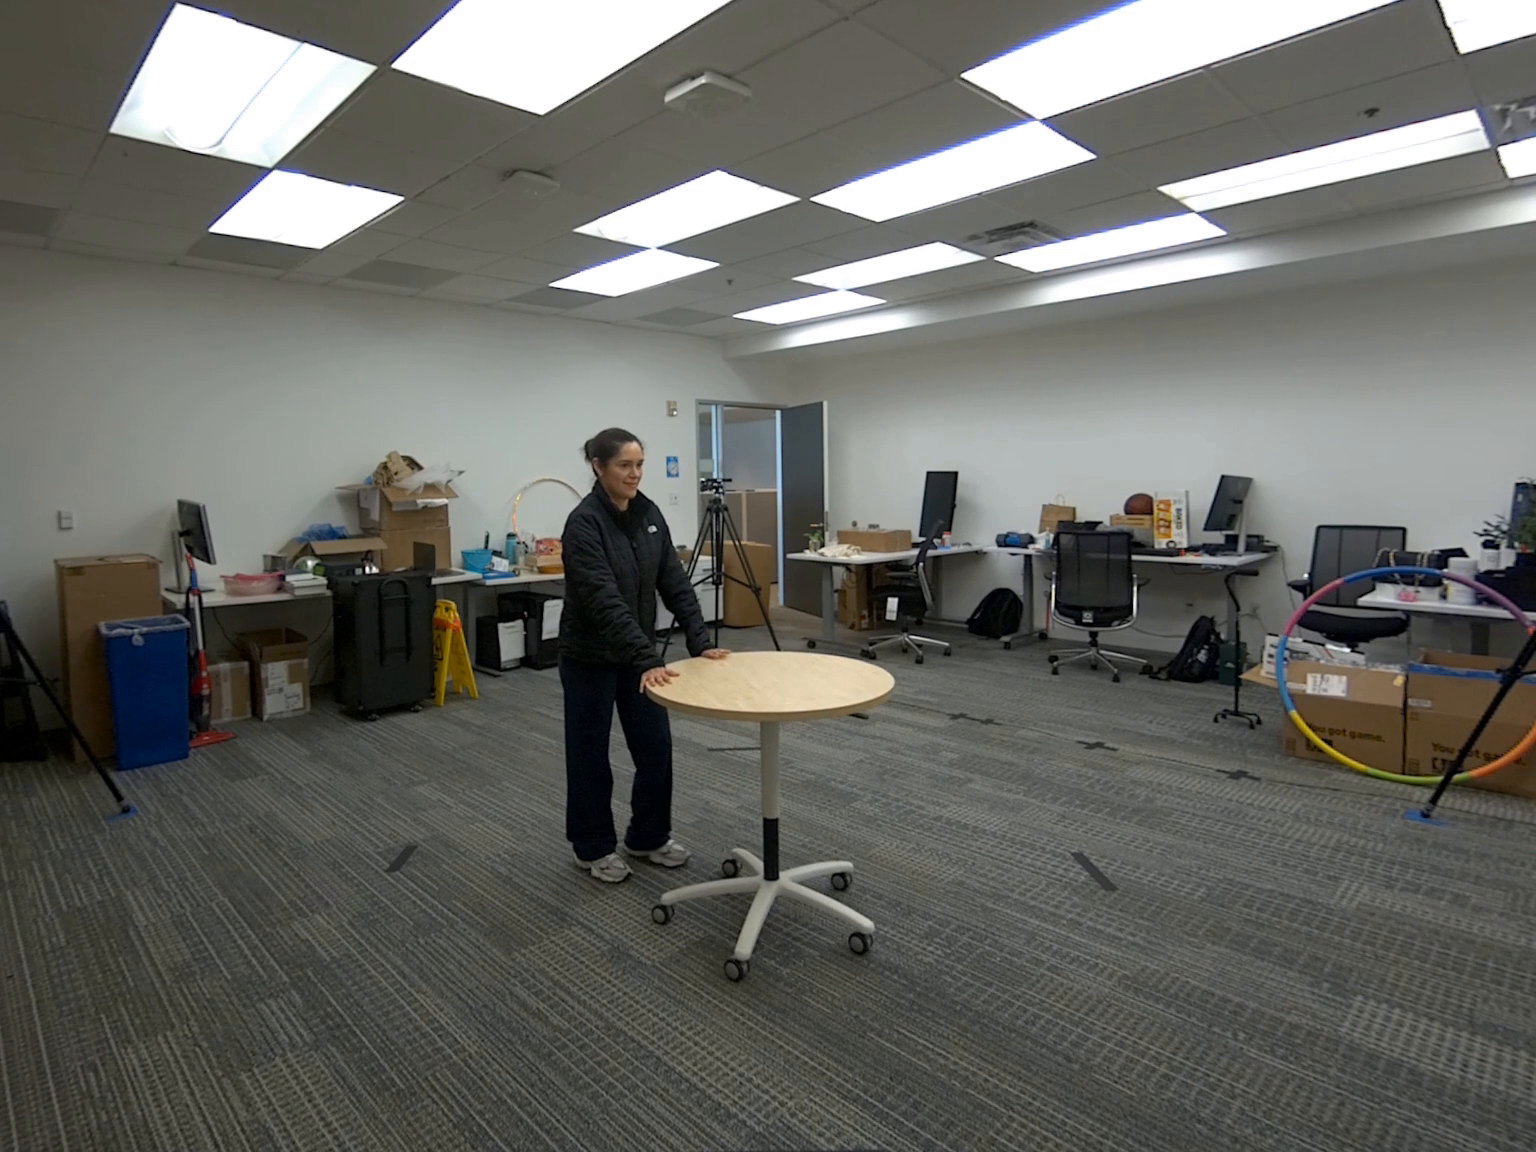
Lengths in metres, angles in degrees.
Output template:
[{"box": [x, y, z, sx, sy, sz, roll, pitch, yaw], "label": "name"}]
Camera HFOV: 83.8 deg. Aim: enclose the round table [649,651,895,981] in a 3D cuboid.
[{"box": [-0.008, 0.698, 2.690, 0.784, 0.783, 0.790, -1, 6, -2], "label": "round table"}]
